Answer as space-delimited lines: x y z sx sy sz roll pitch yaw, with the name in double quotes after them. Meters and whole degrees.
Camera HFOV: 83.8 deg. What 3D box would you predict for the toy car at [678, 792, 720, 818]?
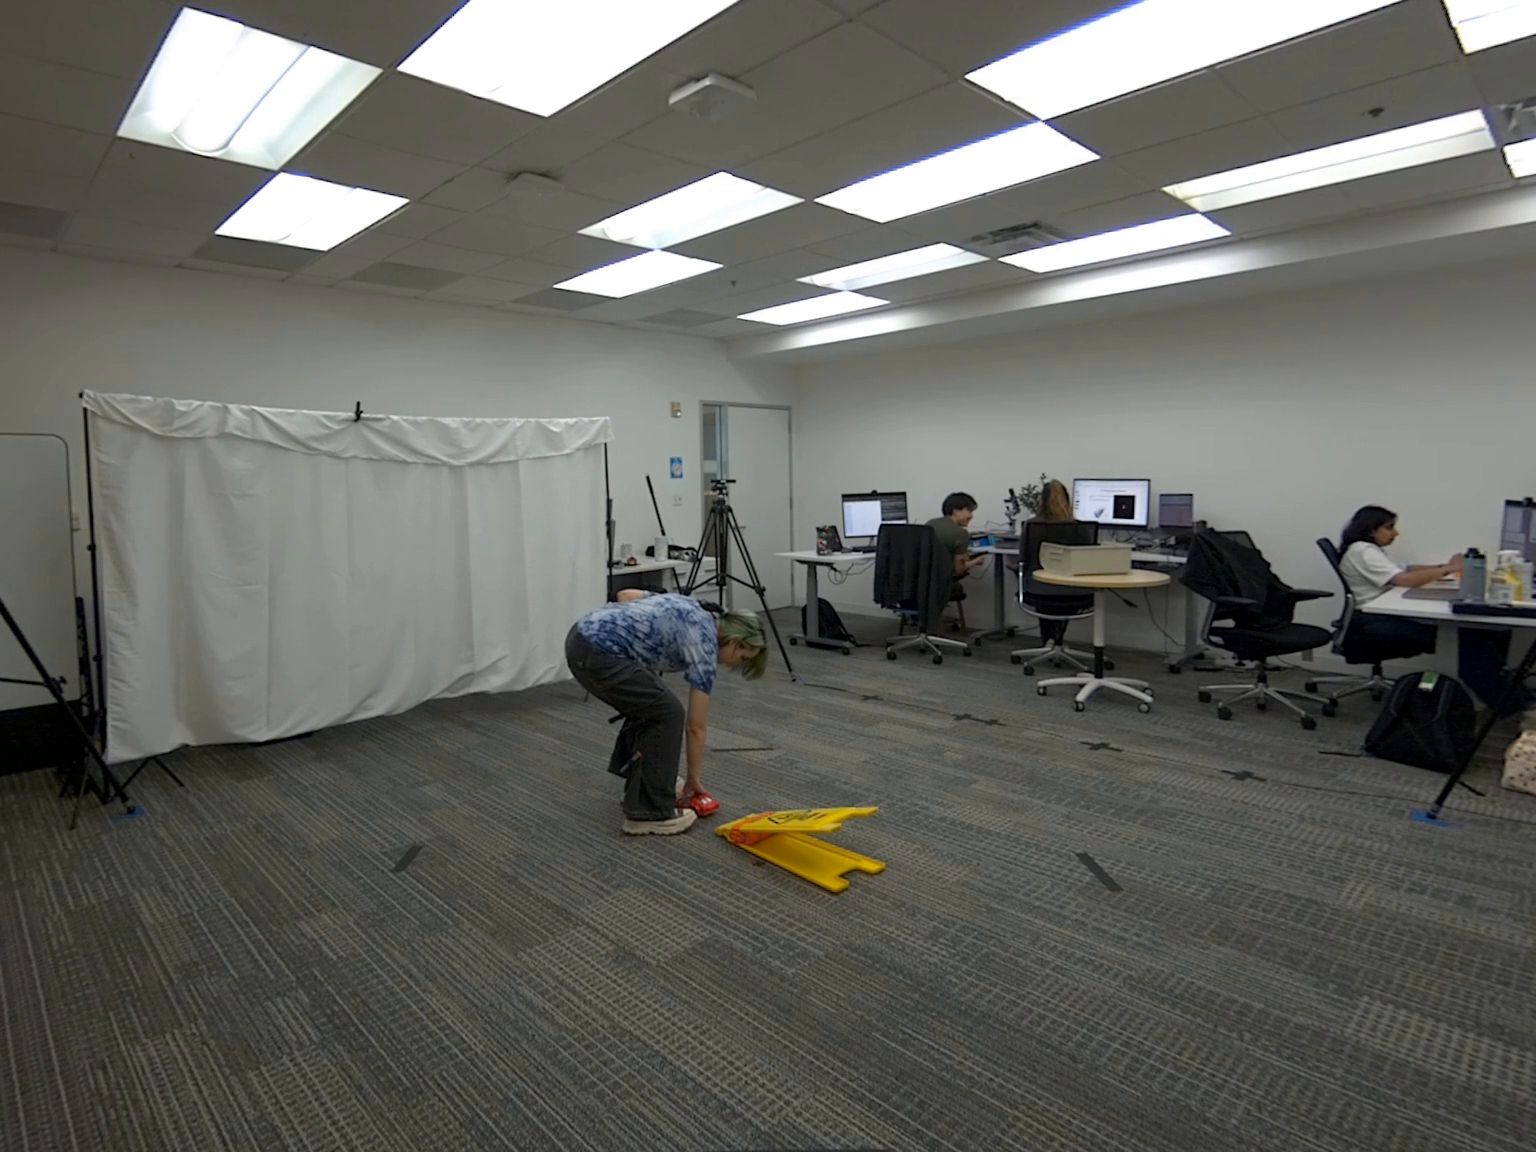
-0.316 0.969 3.611 0.260 0.083 0.127 -11 -5 43 "toy car"
